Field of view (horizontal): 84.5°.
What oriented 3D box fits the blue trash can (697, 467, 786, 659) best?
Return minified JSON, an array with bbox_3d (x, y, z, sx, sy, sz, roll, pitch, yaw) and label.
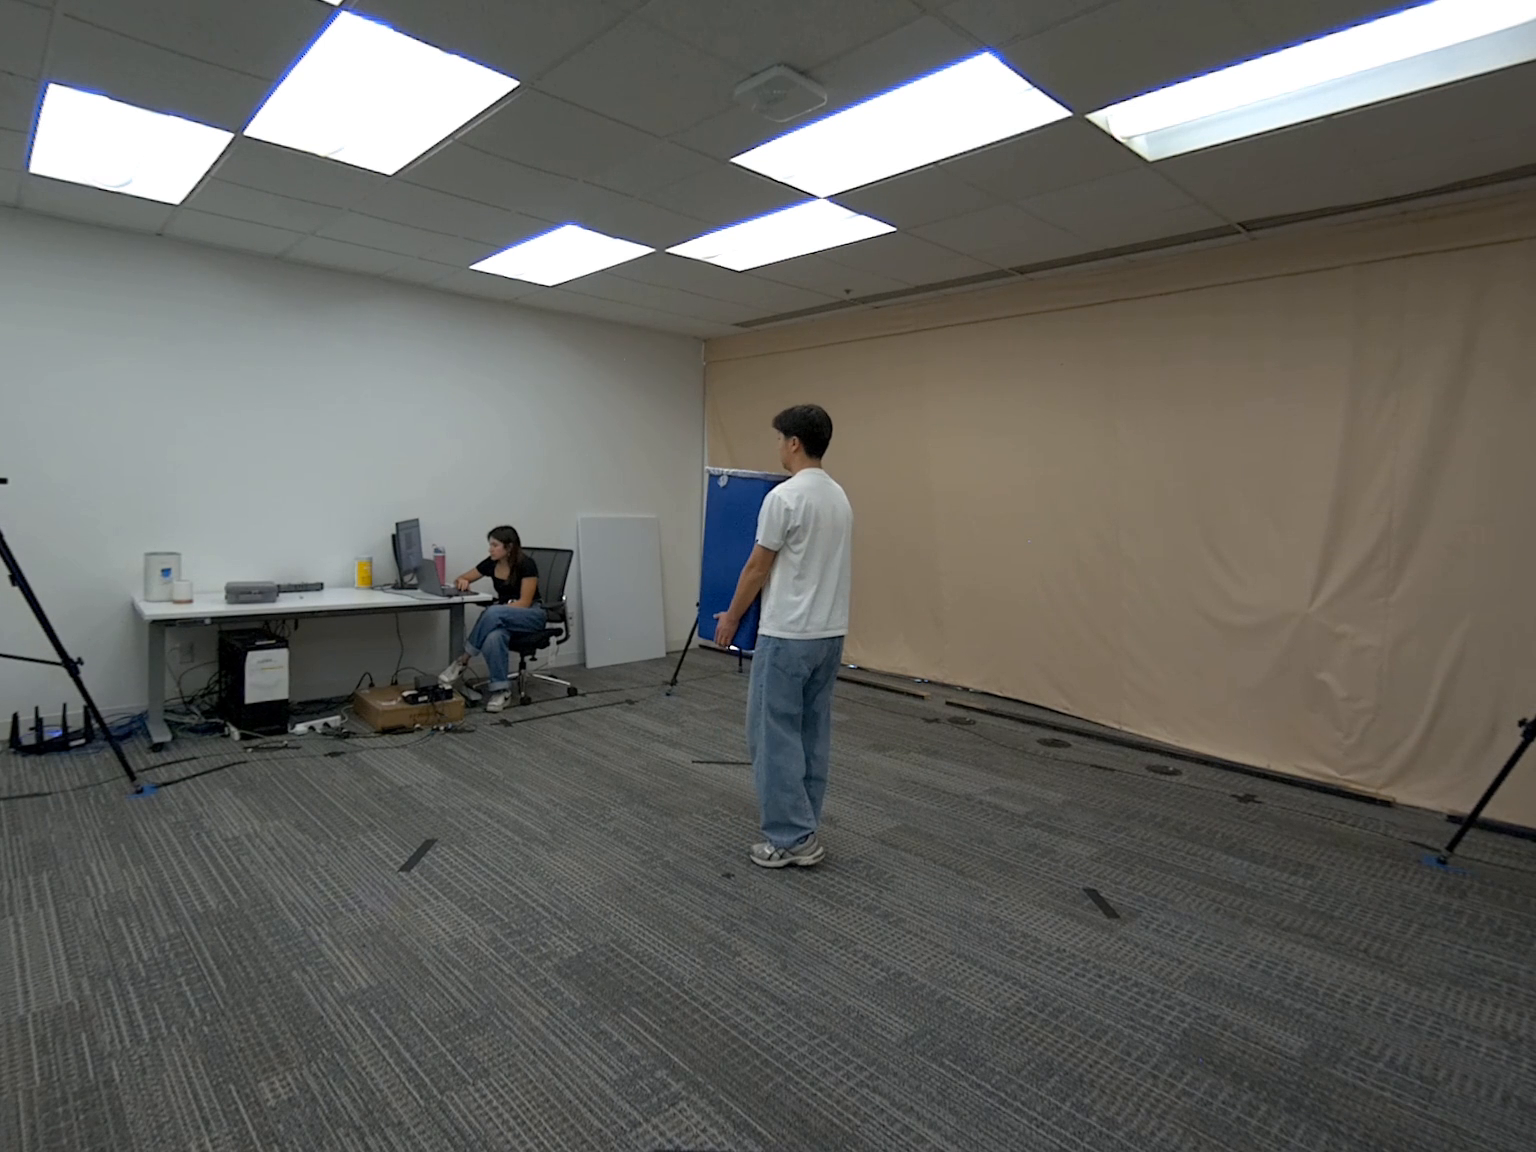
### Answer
[{"bbox_3d":[-0.064,-0.079,3.539,0.388,0.711,0.365,11,8,42],"label":"blue trash can"}]
